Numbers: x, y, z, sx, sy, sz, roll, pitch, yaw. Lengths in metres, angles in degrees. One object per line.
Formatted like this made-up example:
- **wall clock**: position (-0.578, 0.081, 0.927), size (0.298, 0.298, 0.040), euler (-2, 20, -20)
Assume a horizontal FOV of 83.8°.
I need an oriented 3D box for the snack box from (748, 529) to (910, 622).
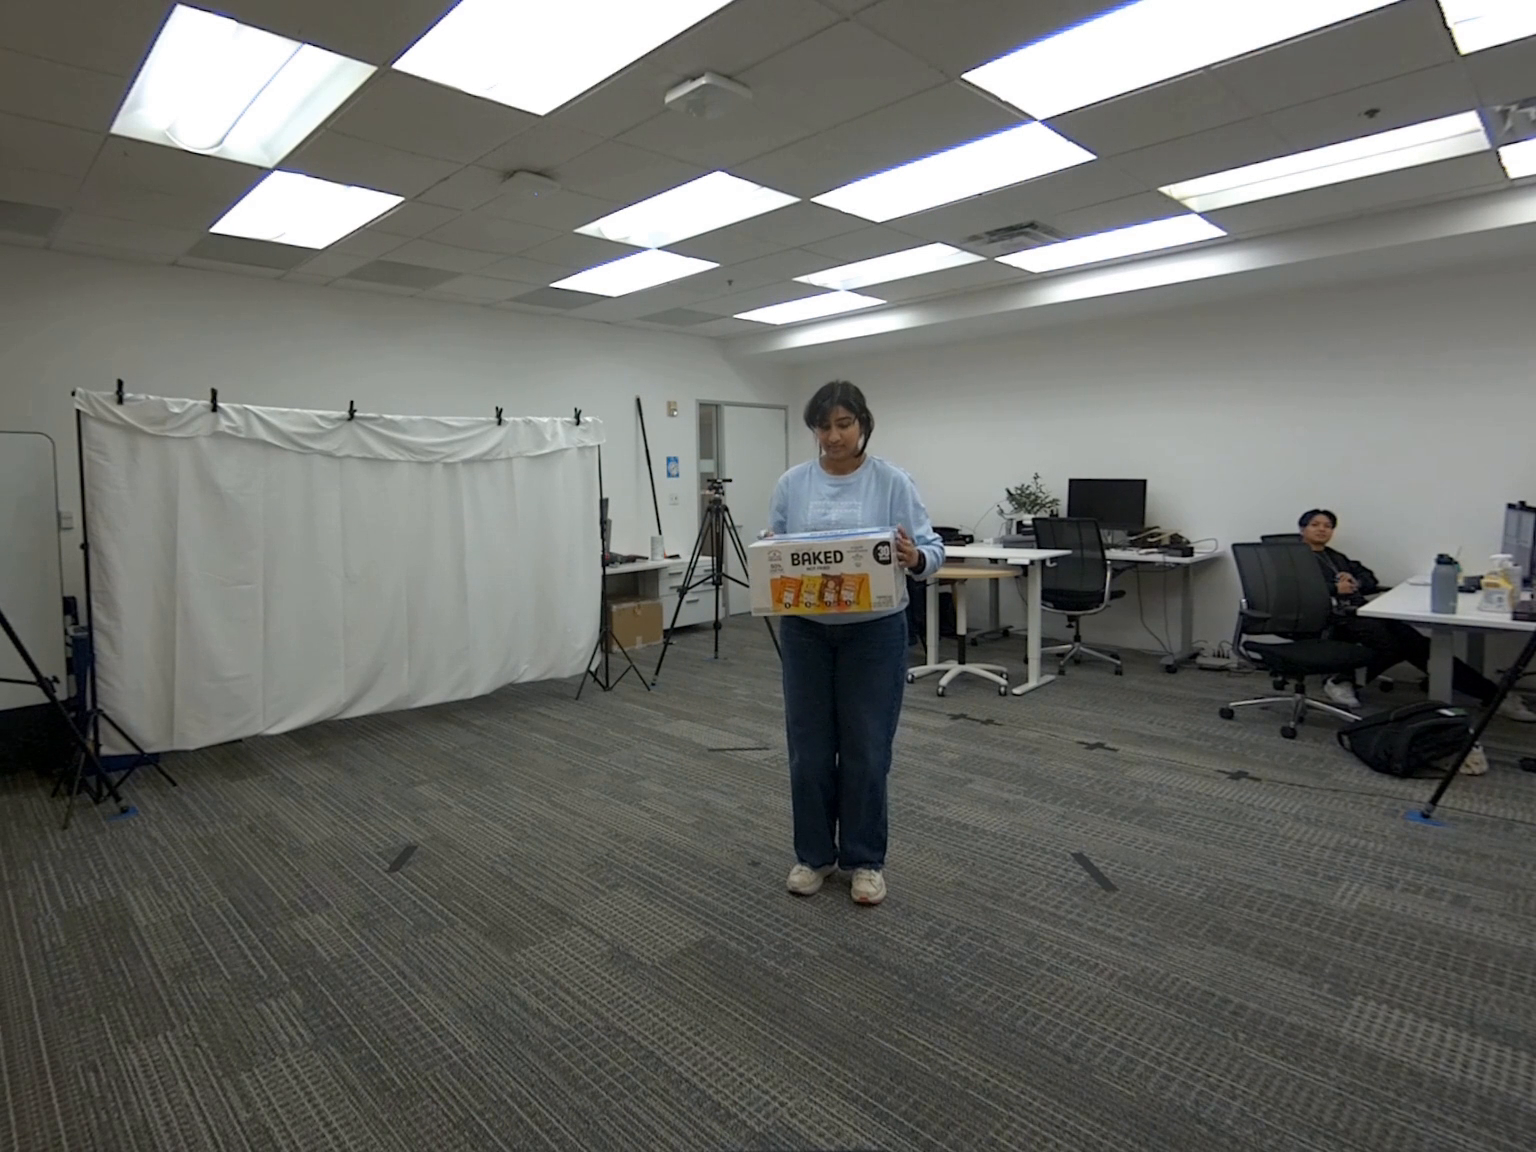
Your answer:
- **snack box**: position (0.188, -0.012, 2.519), size (0.411, 0.204, 0.337), euler (-4, 7, 16)
